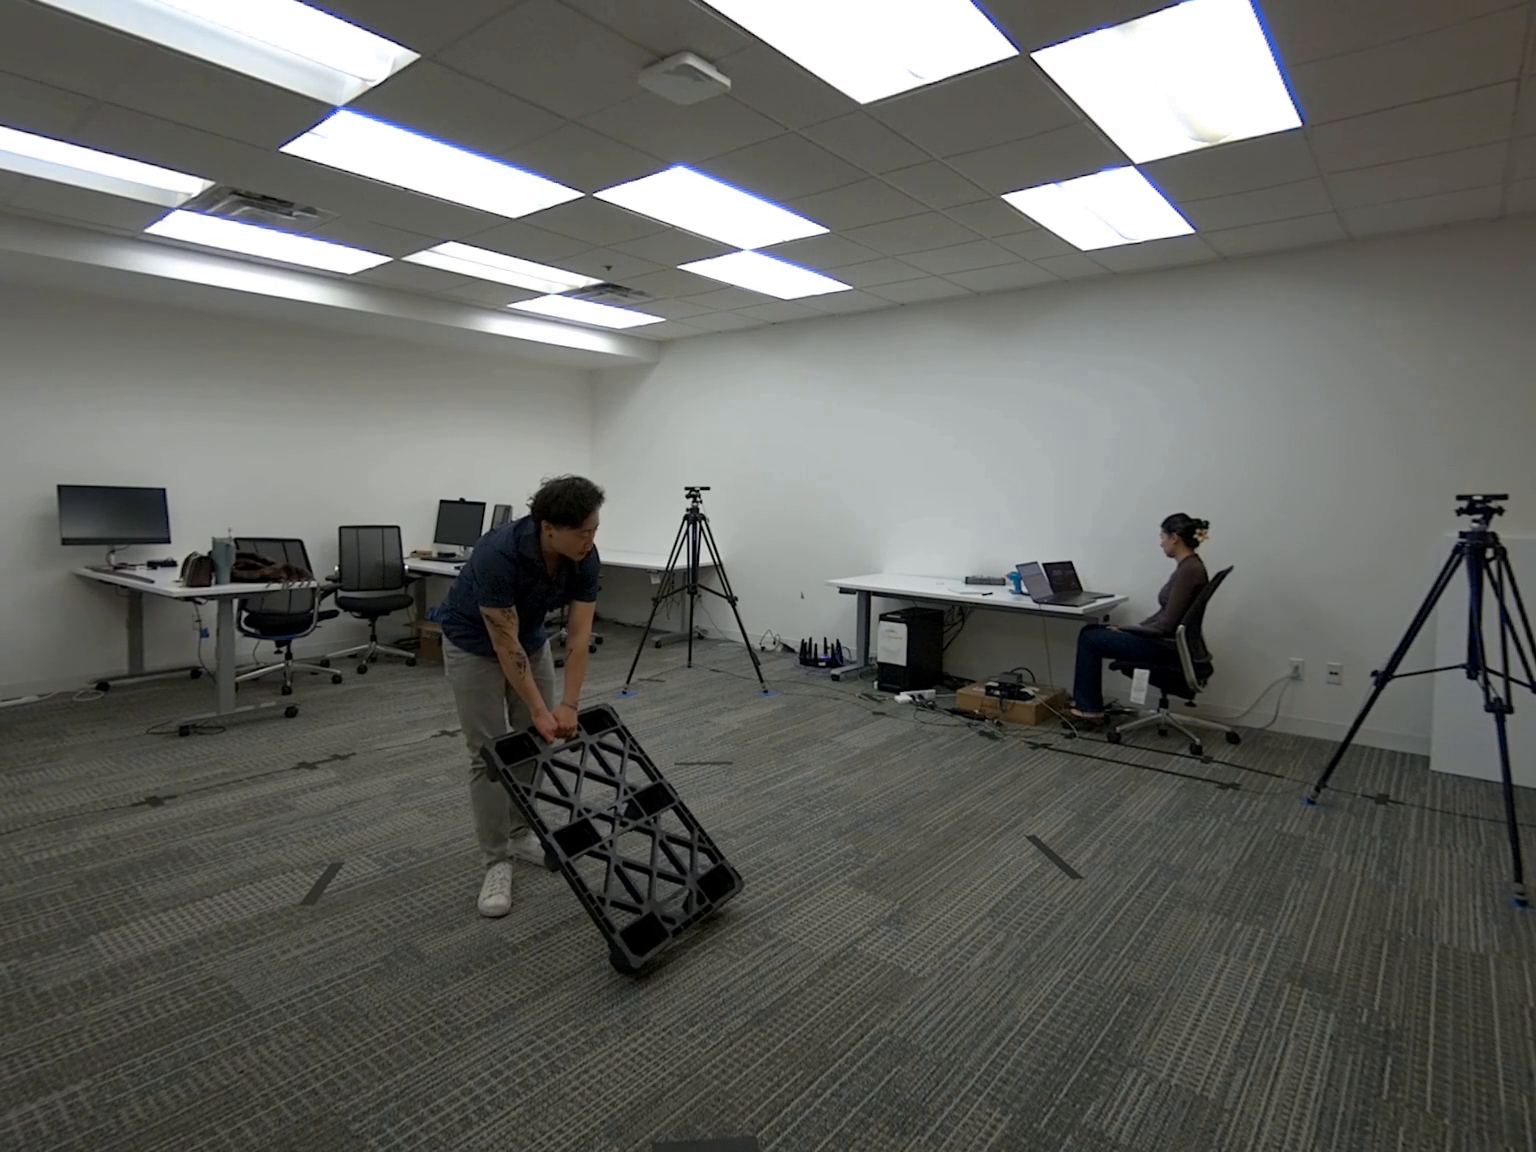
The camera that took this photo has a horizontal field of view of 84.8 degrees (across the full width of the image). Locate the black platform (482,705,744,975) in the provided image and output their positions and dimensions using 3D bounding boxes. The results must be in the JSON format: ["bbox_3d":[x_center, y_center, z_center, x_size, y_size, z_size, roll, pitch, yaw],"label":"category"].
[{"bbox_3d":[-0.518,0.805,2.732,0.829,0.143,0.589,47,25,20],"label":"black platform"}]
